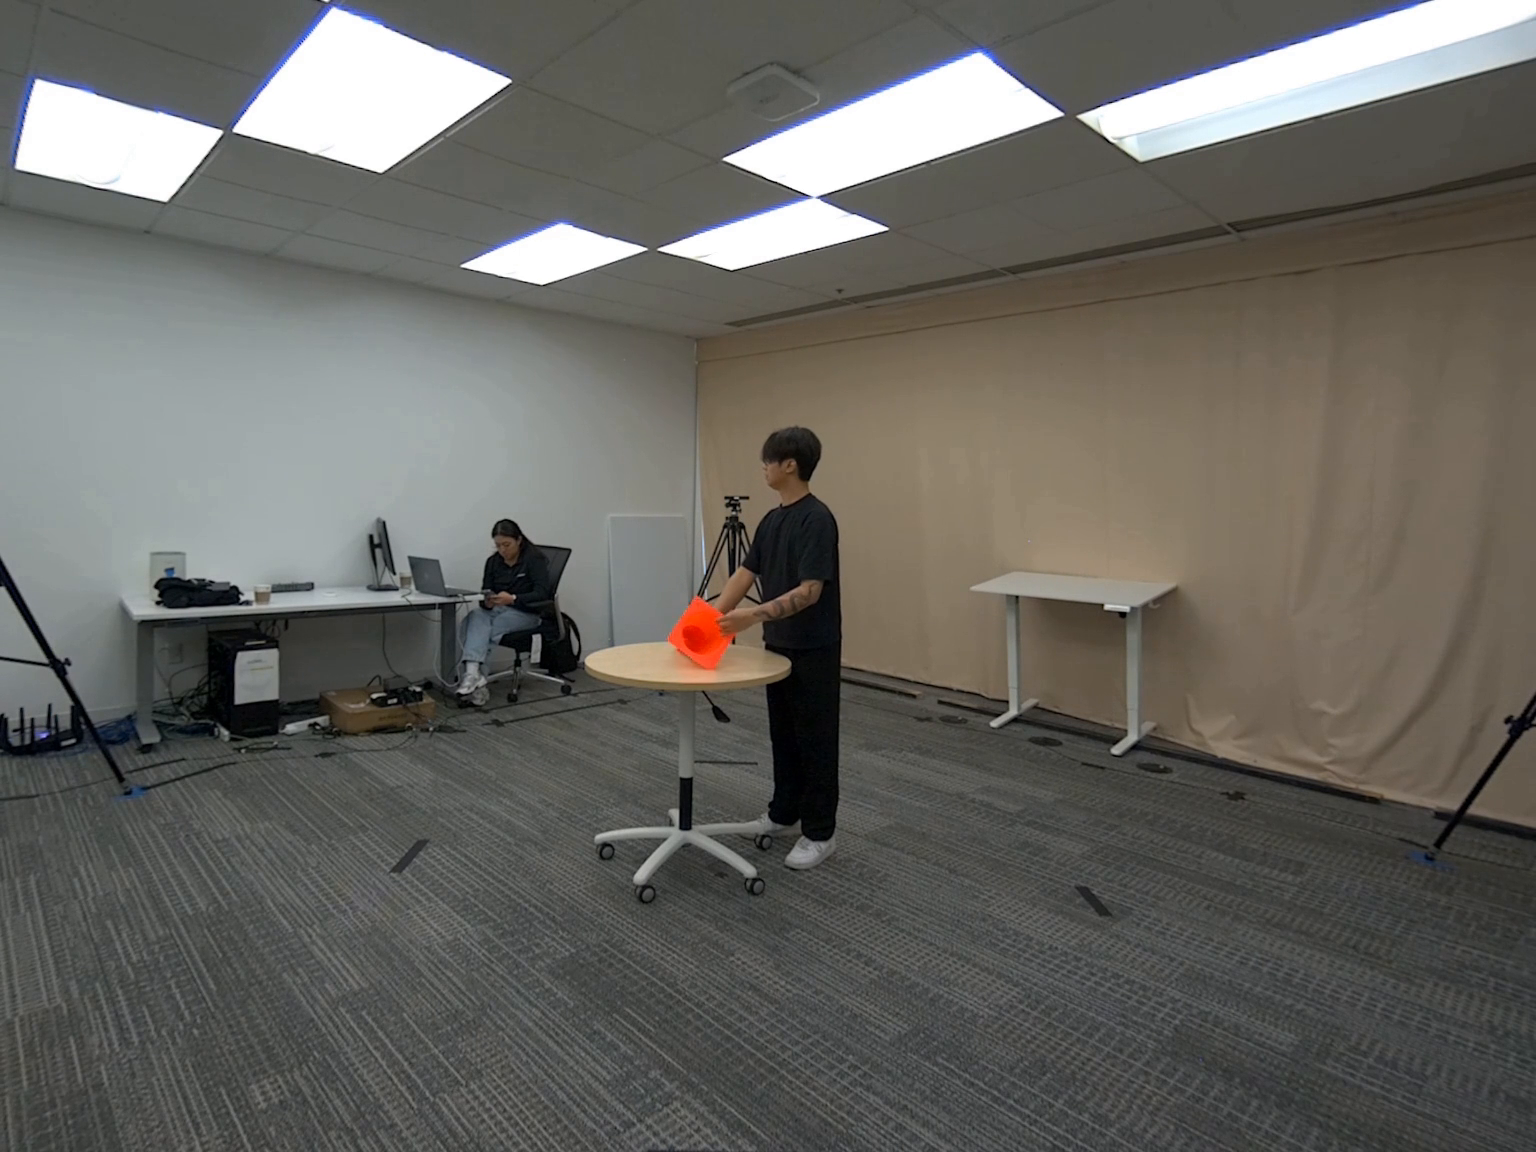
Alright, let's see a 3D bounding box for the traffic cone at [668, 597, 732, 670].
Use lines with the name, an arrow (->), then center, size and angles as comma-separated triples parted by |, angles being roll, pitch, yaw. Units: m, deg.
traffic cone -> -0.306, 0.243, 3.180 | 0.203, 0.204, 0.386 | 38, -21, -9
